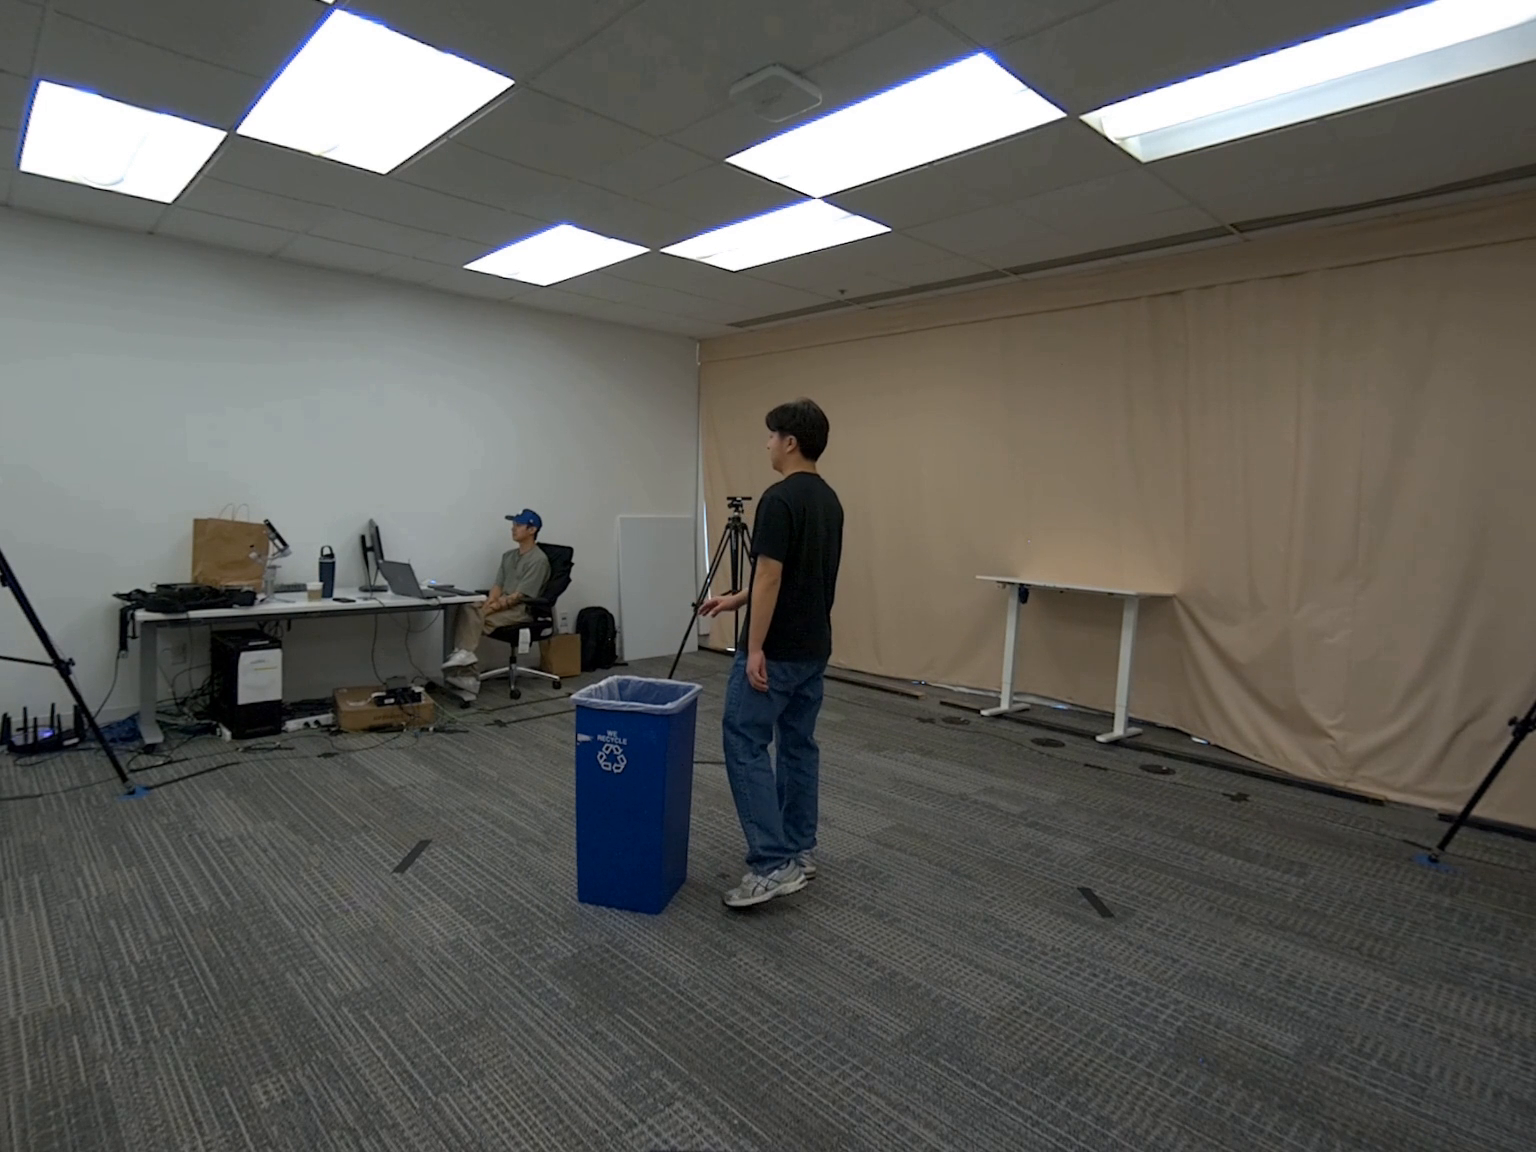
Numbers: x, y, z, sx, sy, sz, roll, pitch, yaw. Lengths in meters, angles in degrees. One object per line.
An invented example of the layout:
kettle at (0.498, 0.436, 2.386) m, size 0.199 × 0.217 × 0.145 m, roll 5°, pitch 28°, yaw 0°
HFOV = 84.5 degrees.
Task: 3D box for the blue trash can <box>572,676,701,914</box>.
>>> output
blue trash can at (-0.472, 0.755, 2.954) m, size 0.379 × 0.712 × 0.374 m, roll 4°, pitch 4°, yaw 14°
